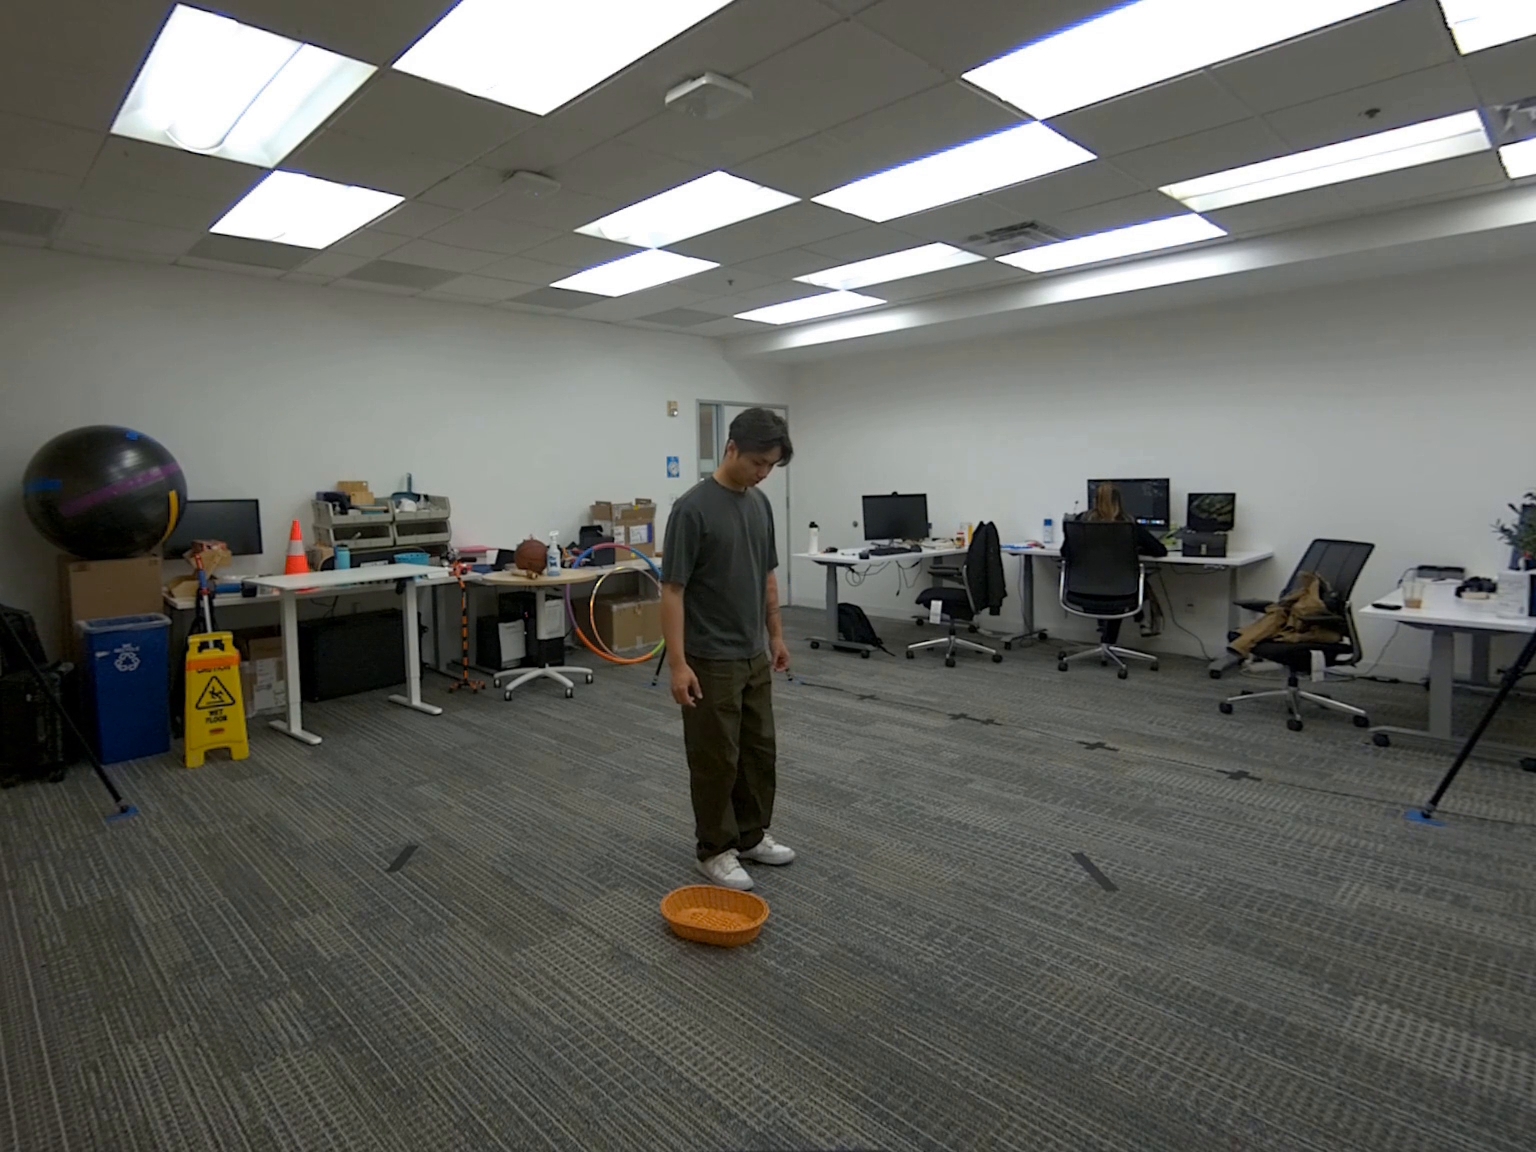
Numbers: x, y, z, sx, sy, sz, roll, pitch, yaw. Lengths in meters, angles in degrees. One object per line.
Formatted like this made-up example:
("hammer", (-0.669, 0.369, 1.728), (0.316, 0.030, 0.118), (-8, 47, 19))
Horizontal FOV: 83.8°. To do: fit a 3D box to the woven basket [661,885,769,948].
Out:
("woven basket", (-0.164, 1.063, 2.663), (0.359, 0.073, 0.248), (2, 7, 26))
